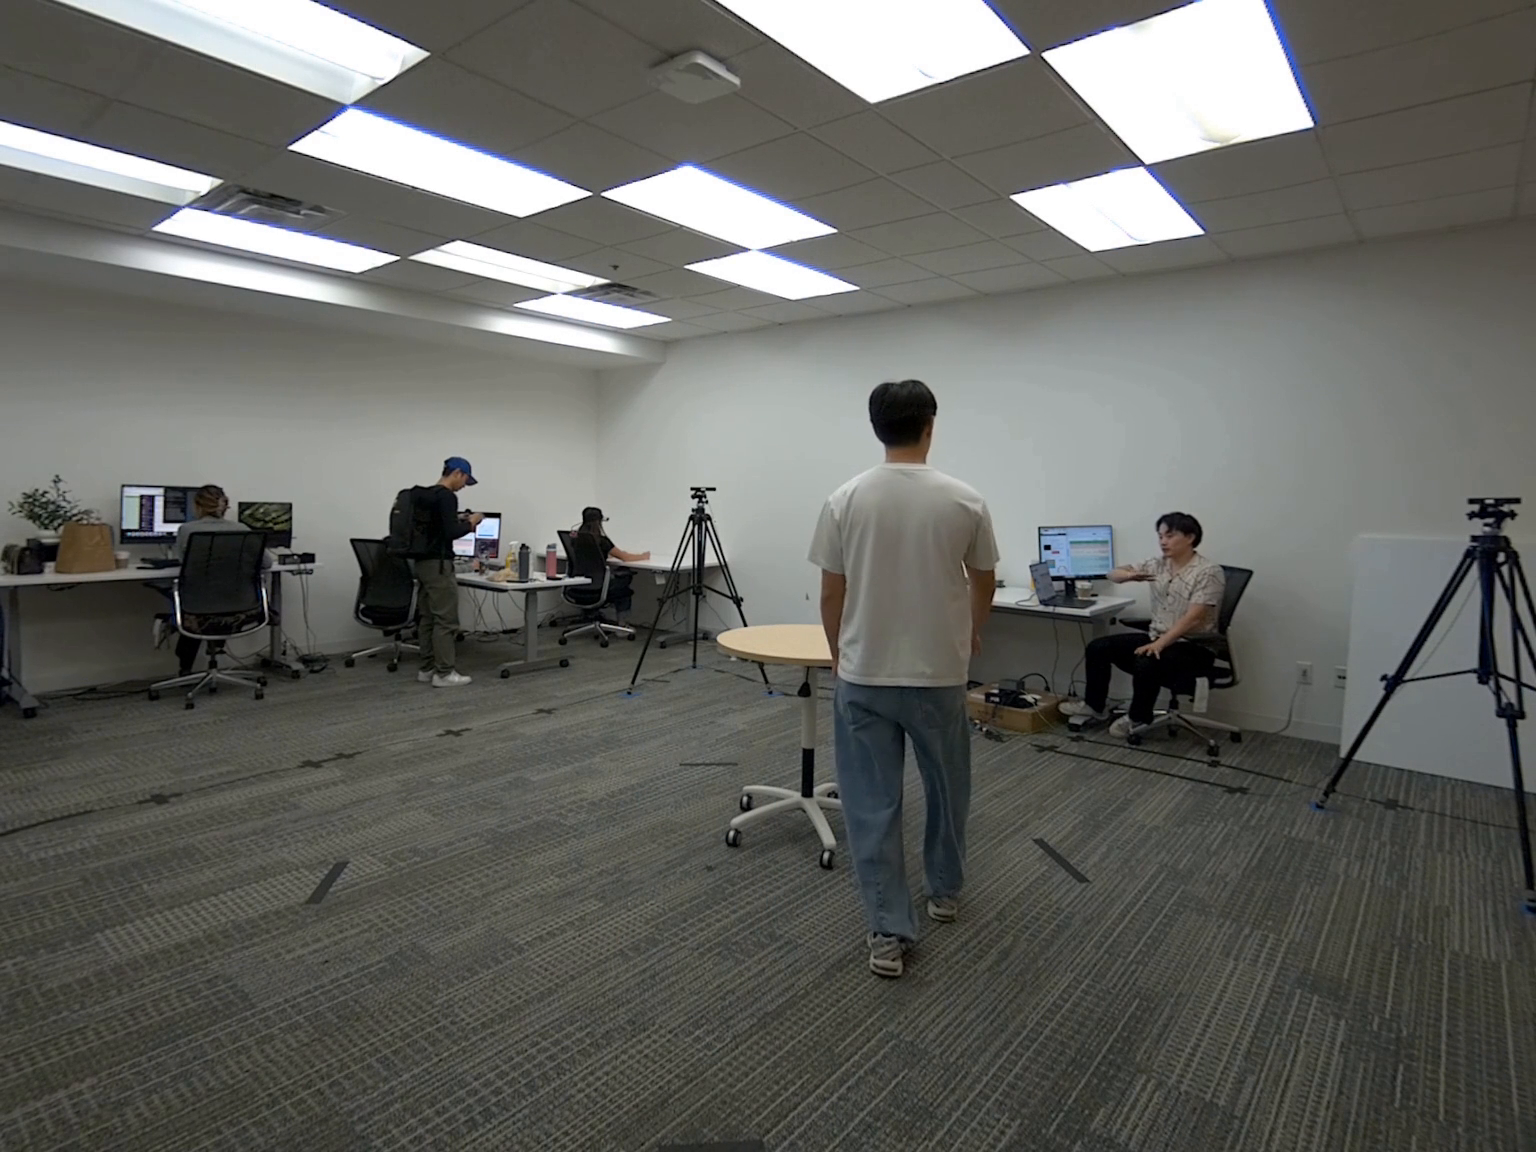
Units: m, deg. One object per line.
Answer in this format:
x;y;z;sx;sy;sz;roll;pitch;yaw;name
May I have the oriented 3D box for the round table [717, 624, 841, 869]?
0.148;0.649;3.465;0.763;0.791;0.768;1;4;-2;round table
